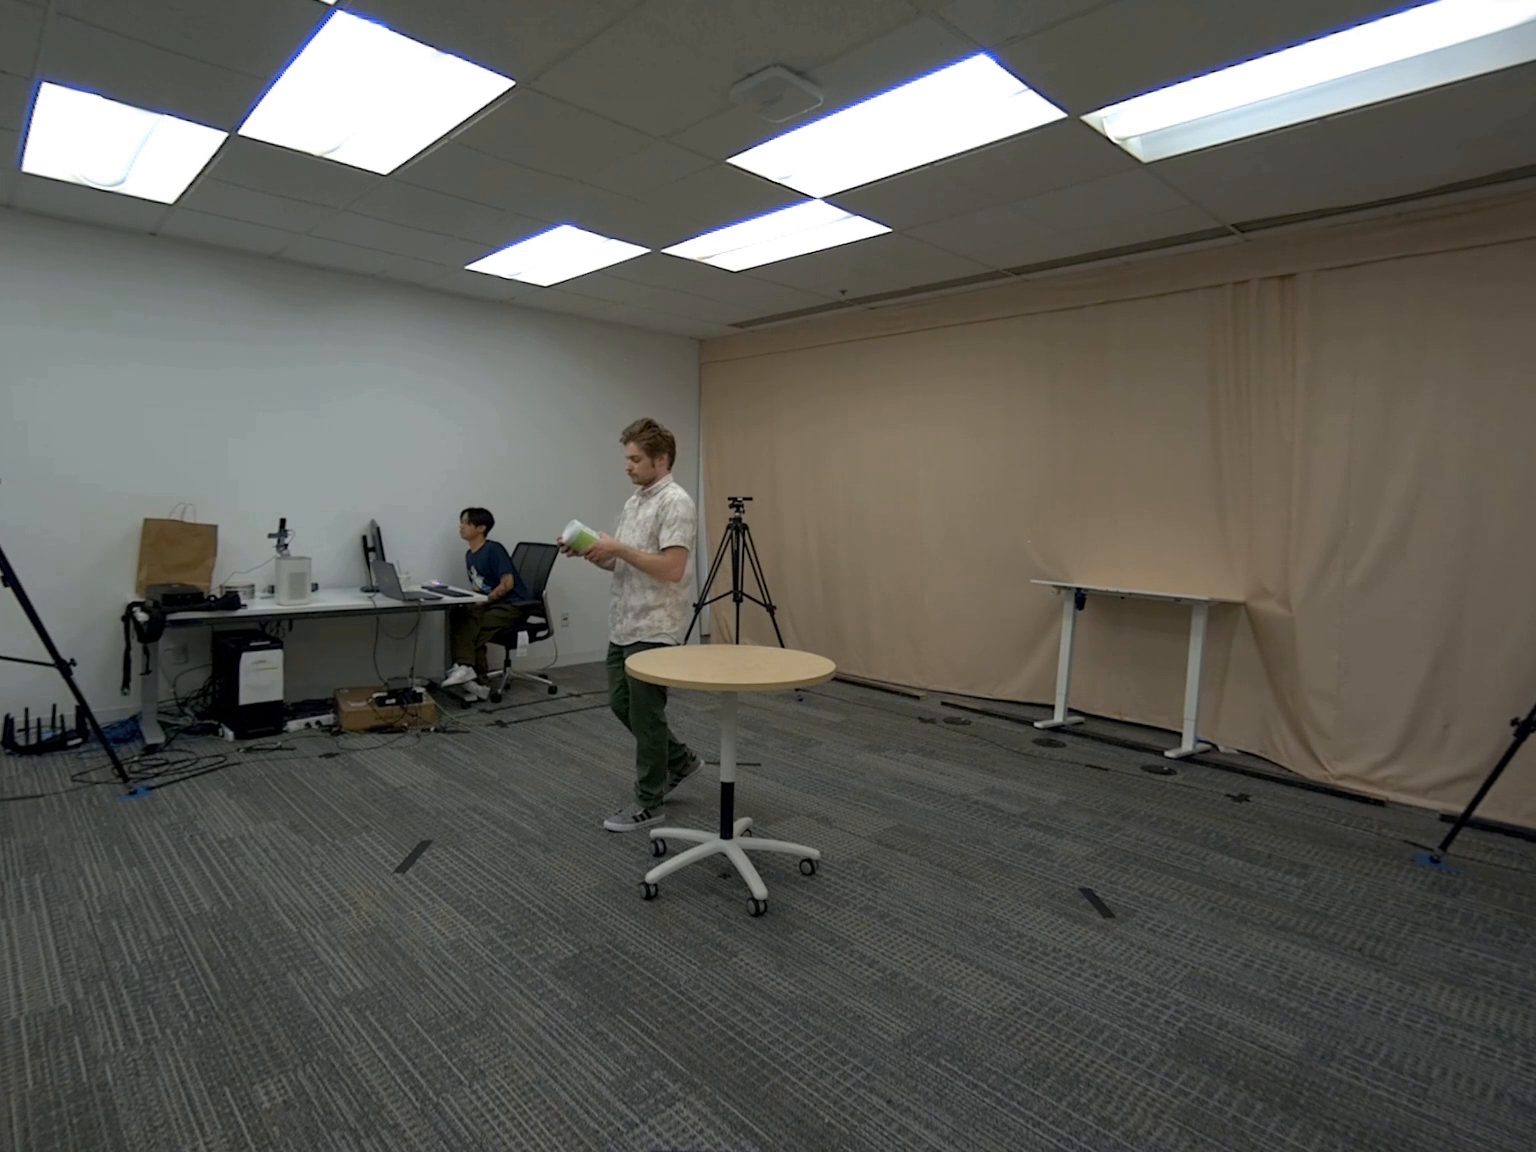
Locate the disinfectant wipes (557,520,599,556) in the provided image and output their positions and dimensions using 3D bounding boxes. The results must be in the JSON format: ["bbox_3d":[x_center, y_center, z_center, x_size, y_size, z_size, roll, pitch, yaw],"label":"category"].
[{"bbox_3d":[-0.743,-0.140,3.456,0.211,0.118,0.120,31,-12,-31],"label":"disinfectant wipes"}]
